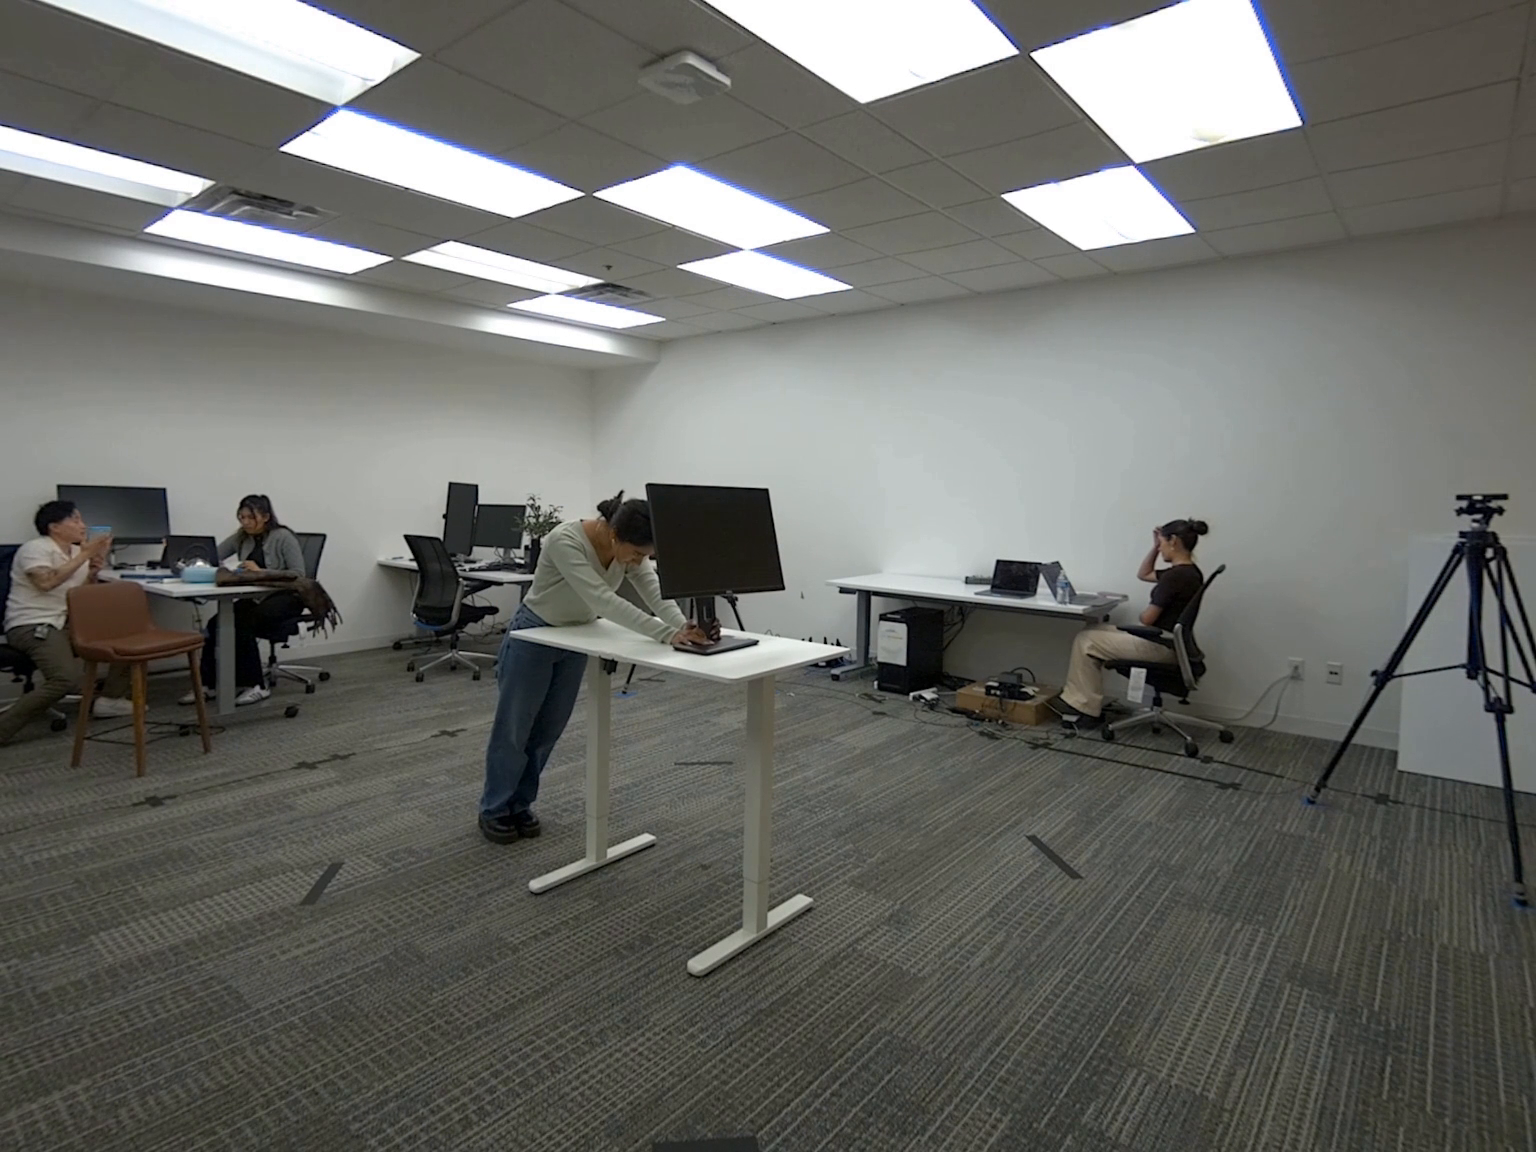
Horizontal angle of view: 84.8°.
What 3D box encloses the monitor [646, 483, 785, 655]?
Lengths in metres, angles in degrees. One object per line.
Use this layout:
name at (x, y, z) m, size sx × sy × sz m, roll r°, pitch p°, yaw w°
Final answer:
monitor at (-0.186, -0.029, 2.711) m, size 0.193 × 0.522 × 0.523 m, roll 1°, pitch 2°, yaw 41°
